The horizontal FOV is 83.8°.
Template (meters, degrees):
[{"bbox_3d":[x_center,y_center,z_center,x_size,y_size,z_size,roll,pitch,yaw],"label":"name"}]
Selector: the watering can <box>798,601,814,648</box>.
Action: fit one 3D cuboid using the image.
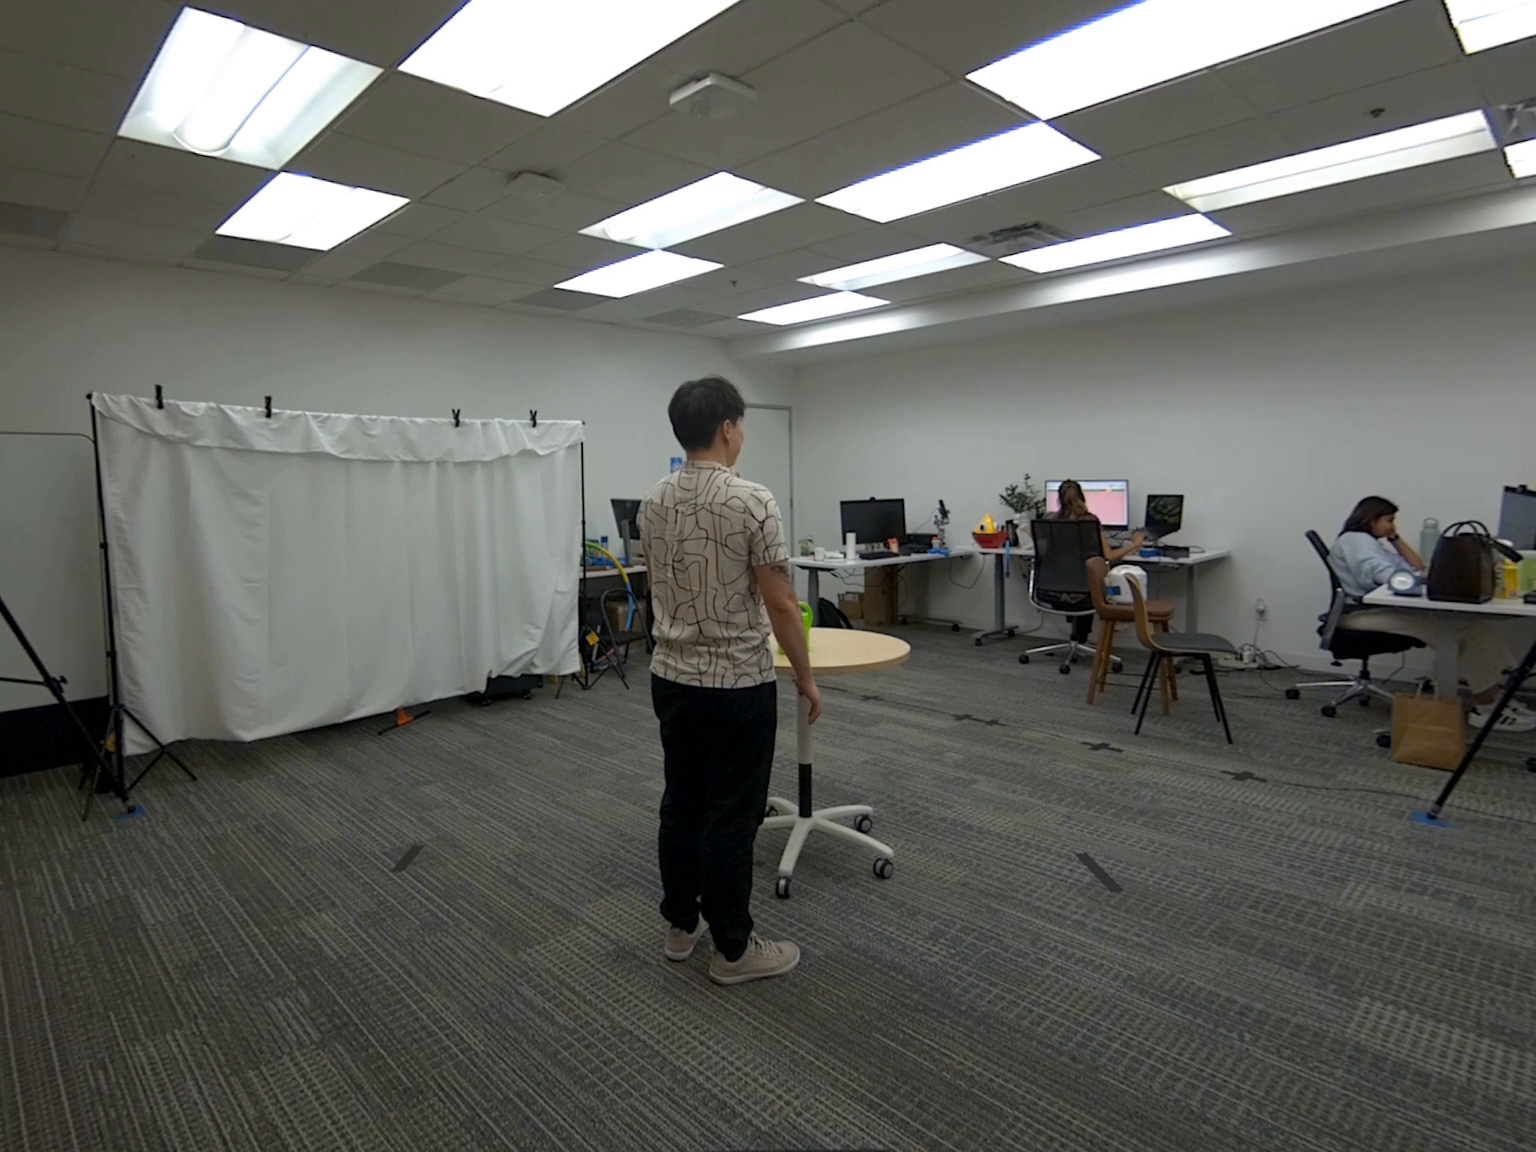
[{"bbox_3d":[0.072,0.182,3.001,0.271,0.176,0.101,-2,3,-33],"label":"watering can"}]
